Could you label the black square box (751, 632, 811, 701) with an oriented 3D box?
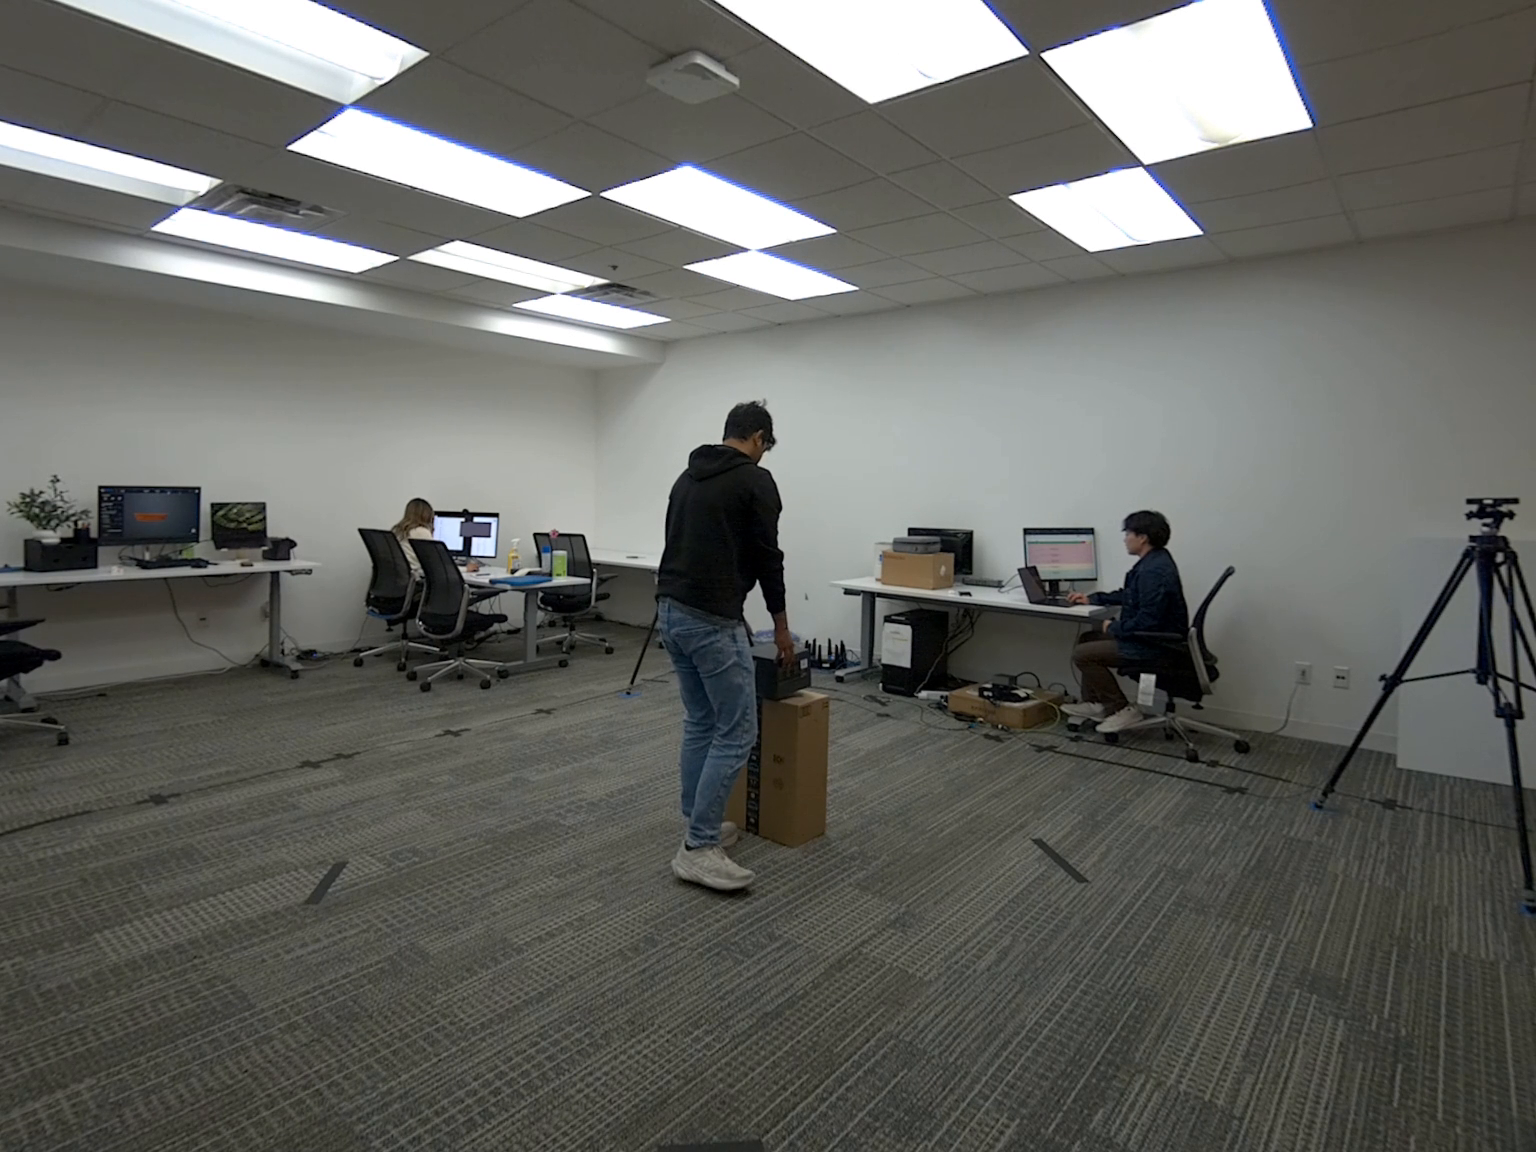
[{"bbox_3d":[0.009,0.373,3.444,0.235,0.155,0.211,4,10,44],"label":"black square box"}]
